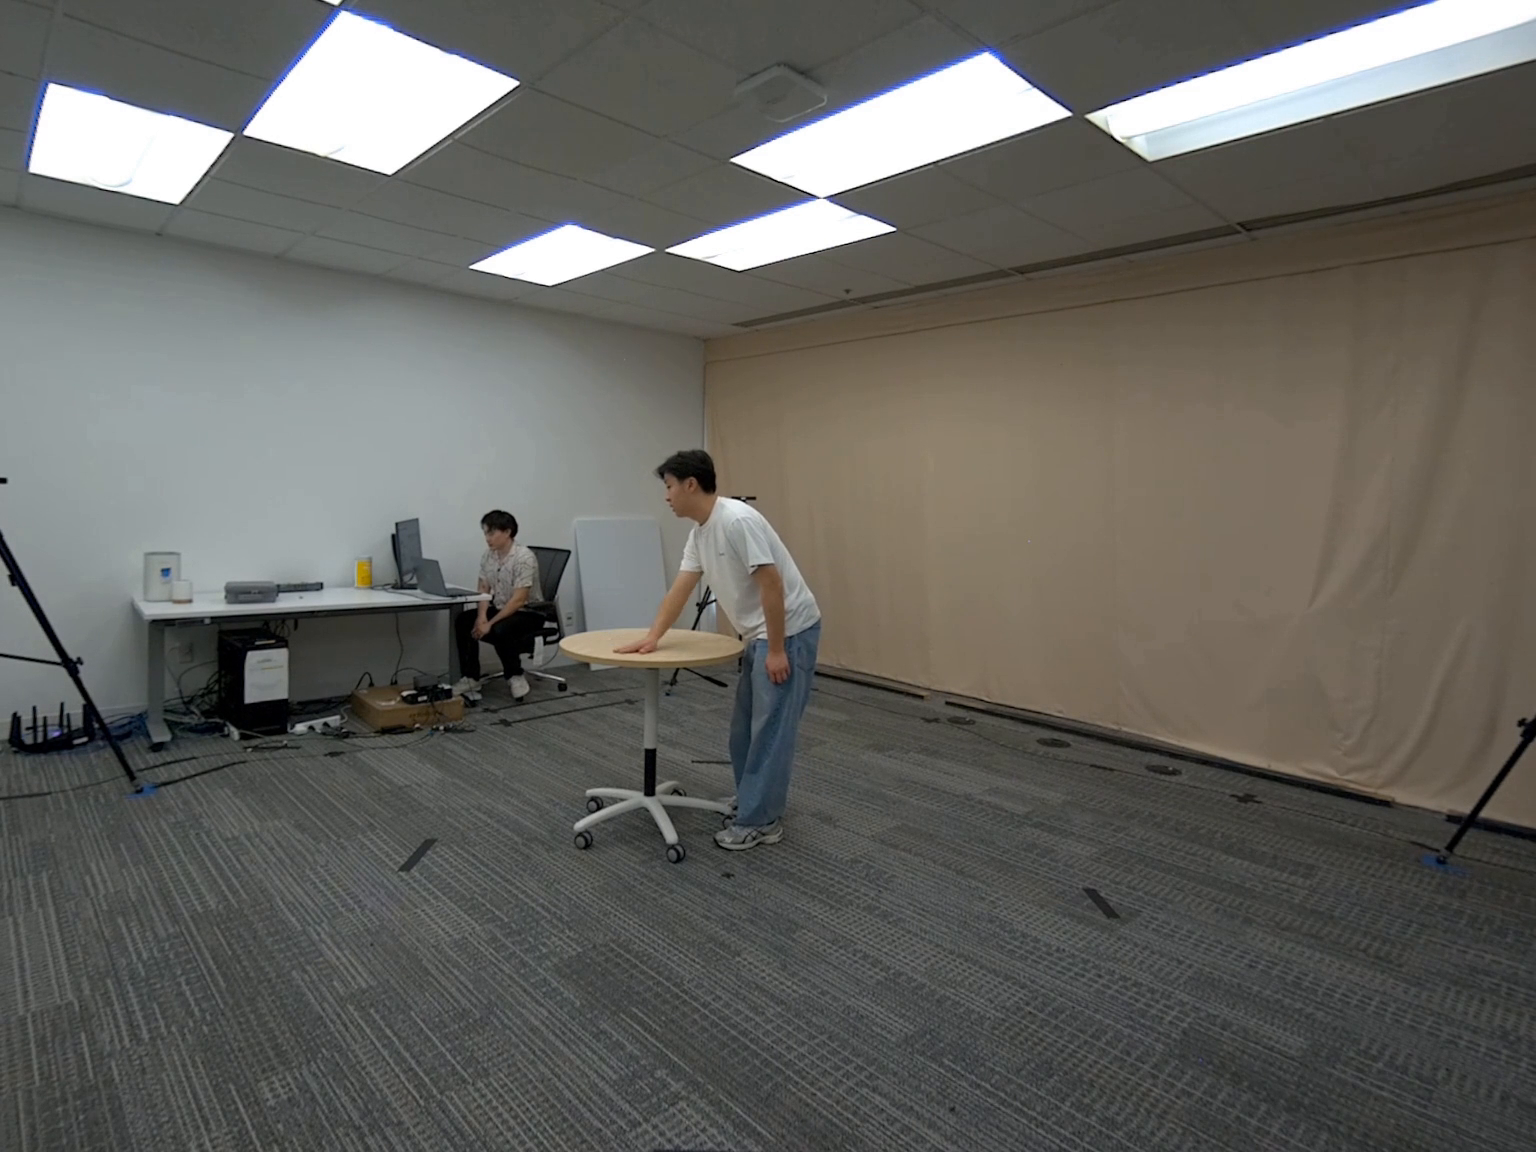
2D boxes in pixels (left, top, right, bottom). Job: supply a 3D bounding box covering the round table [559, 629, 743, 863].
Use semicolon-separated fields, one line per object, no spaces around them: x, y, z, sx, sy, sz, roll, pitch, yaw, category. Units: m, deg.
-0.496;0.670;3.508;0.763;0.792;0.766;1;4;-1;round table
